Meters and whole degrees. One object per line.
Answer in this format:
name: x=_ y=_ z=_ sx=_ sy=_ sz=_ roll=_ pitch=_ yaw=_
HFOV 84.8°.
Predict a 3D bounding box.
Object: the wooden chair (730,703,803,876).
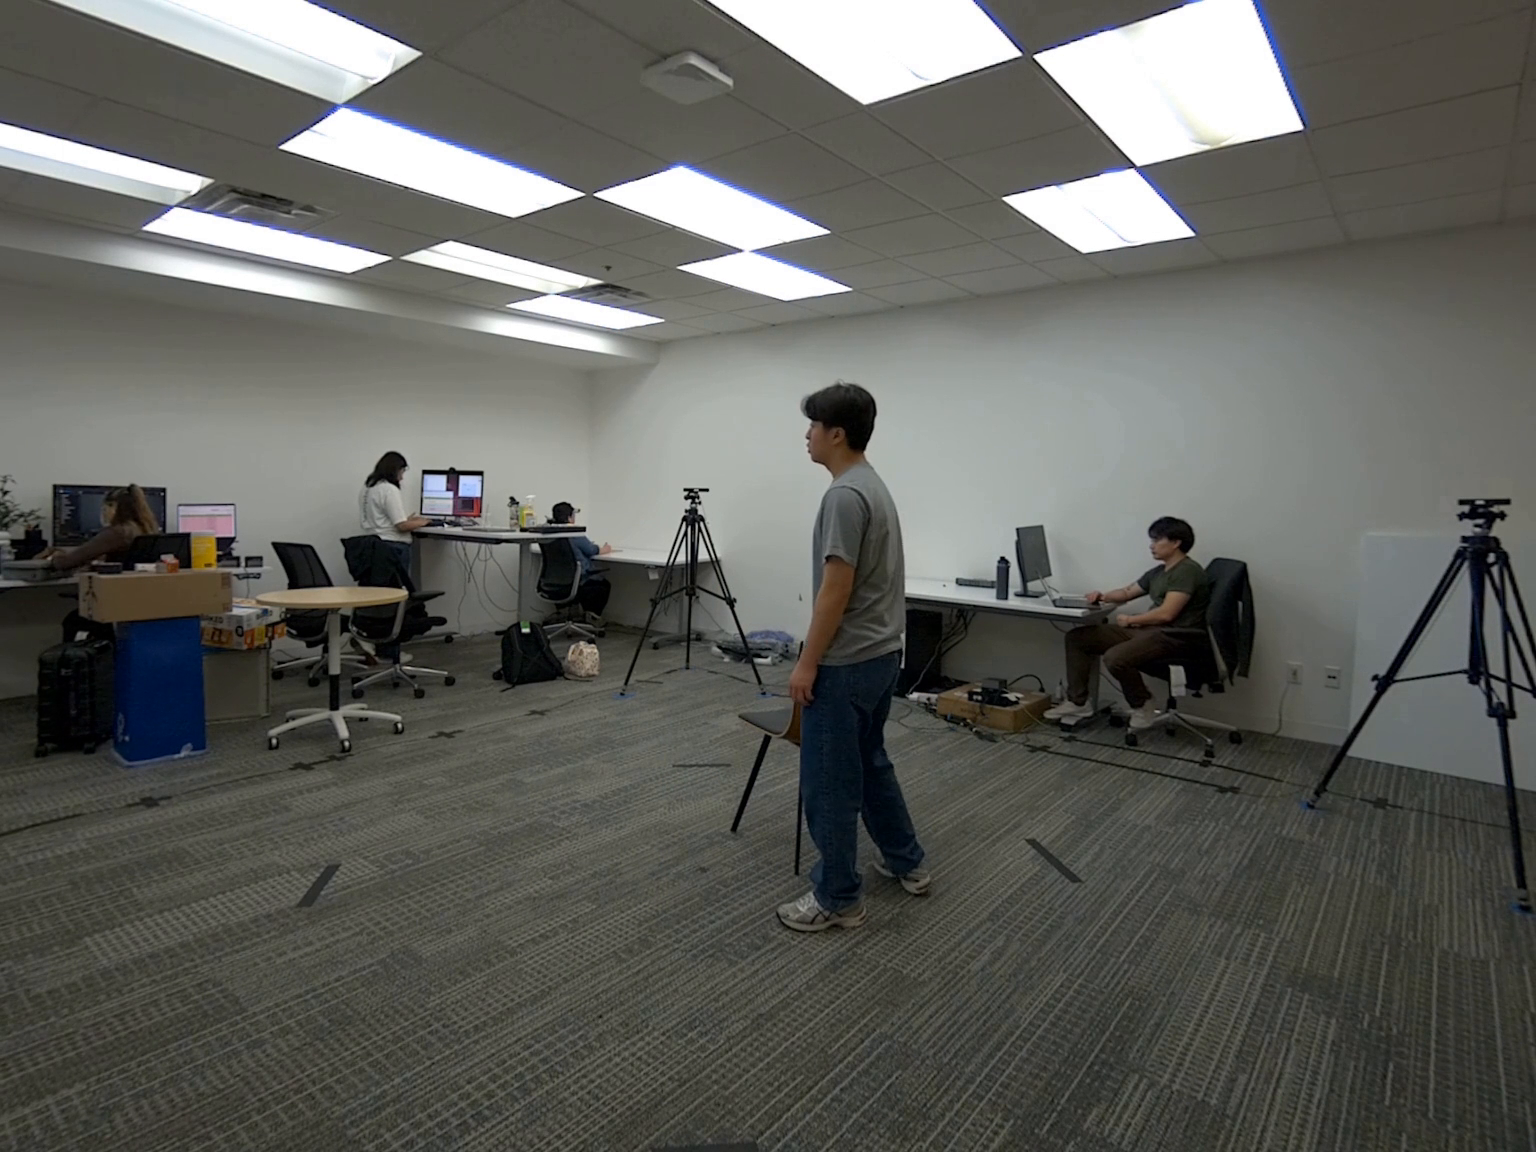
wooden chair: x=0.152 y=0.623 z=3.358 sx=0.465 sy=0.872 sz=0.541 roll=-1 pitch=8 yaw=-32
